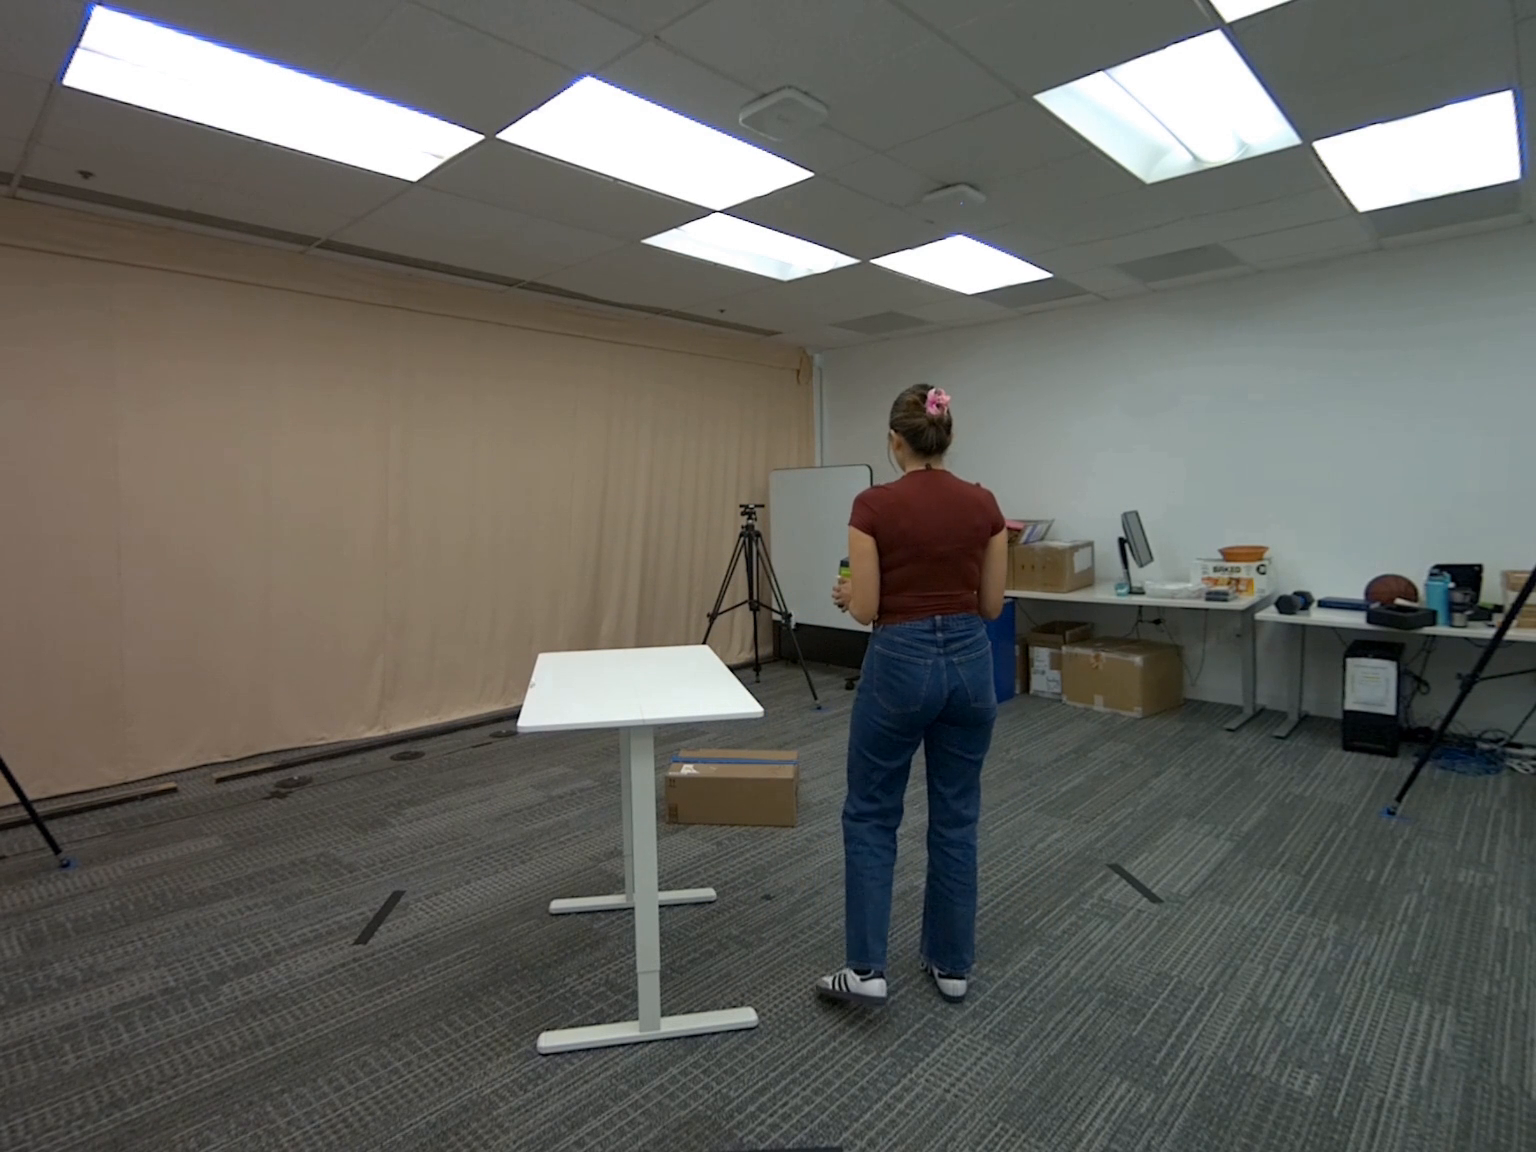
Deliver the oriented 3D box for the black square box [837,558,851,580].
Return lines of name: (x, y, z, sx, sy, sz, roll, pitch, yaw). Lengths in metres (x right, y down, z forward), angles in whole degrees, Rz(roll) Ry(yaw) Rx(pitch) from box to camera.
black square box: (0.371, 0.020, 2.702, 0.234, 0.155, 0.213, 7, 11, 23)
